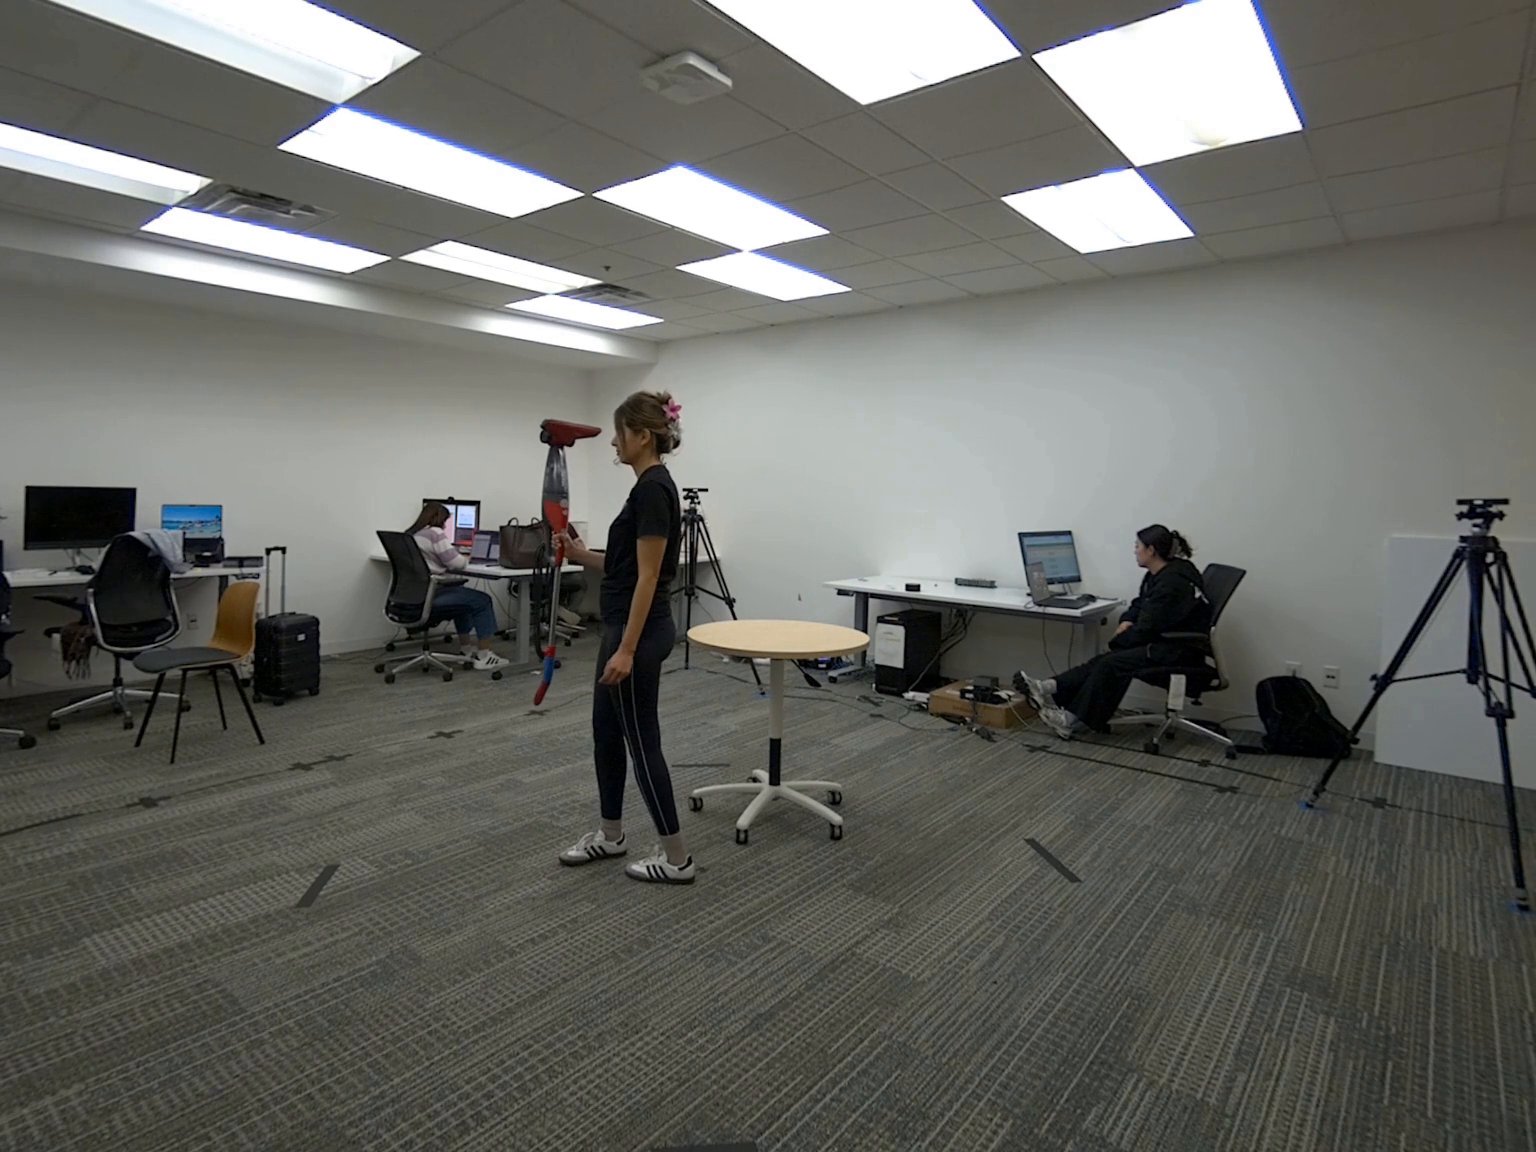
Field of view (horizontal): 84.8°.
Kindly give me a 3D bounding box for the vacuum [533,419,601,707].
[{"bbox_3d":[-0.849,-0.041,3.232,0.149,1.048,0.244,8,2,44],"label":"vacuum"}]
